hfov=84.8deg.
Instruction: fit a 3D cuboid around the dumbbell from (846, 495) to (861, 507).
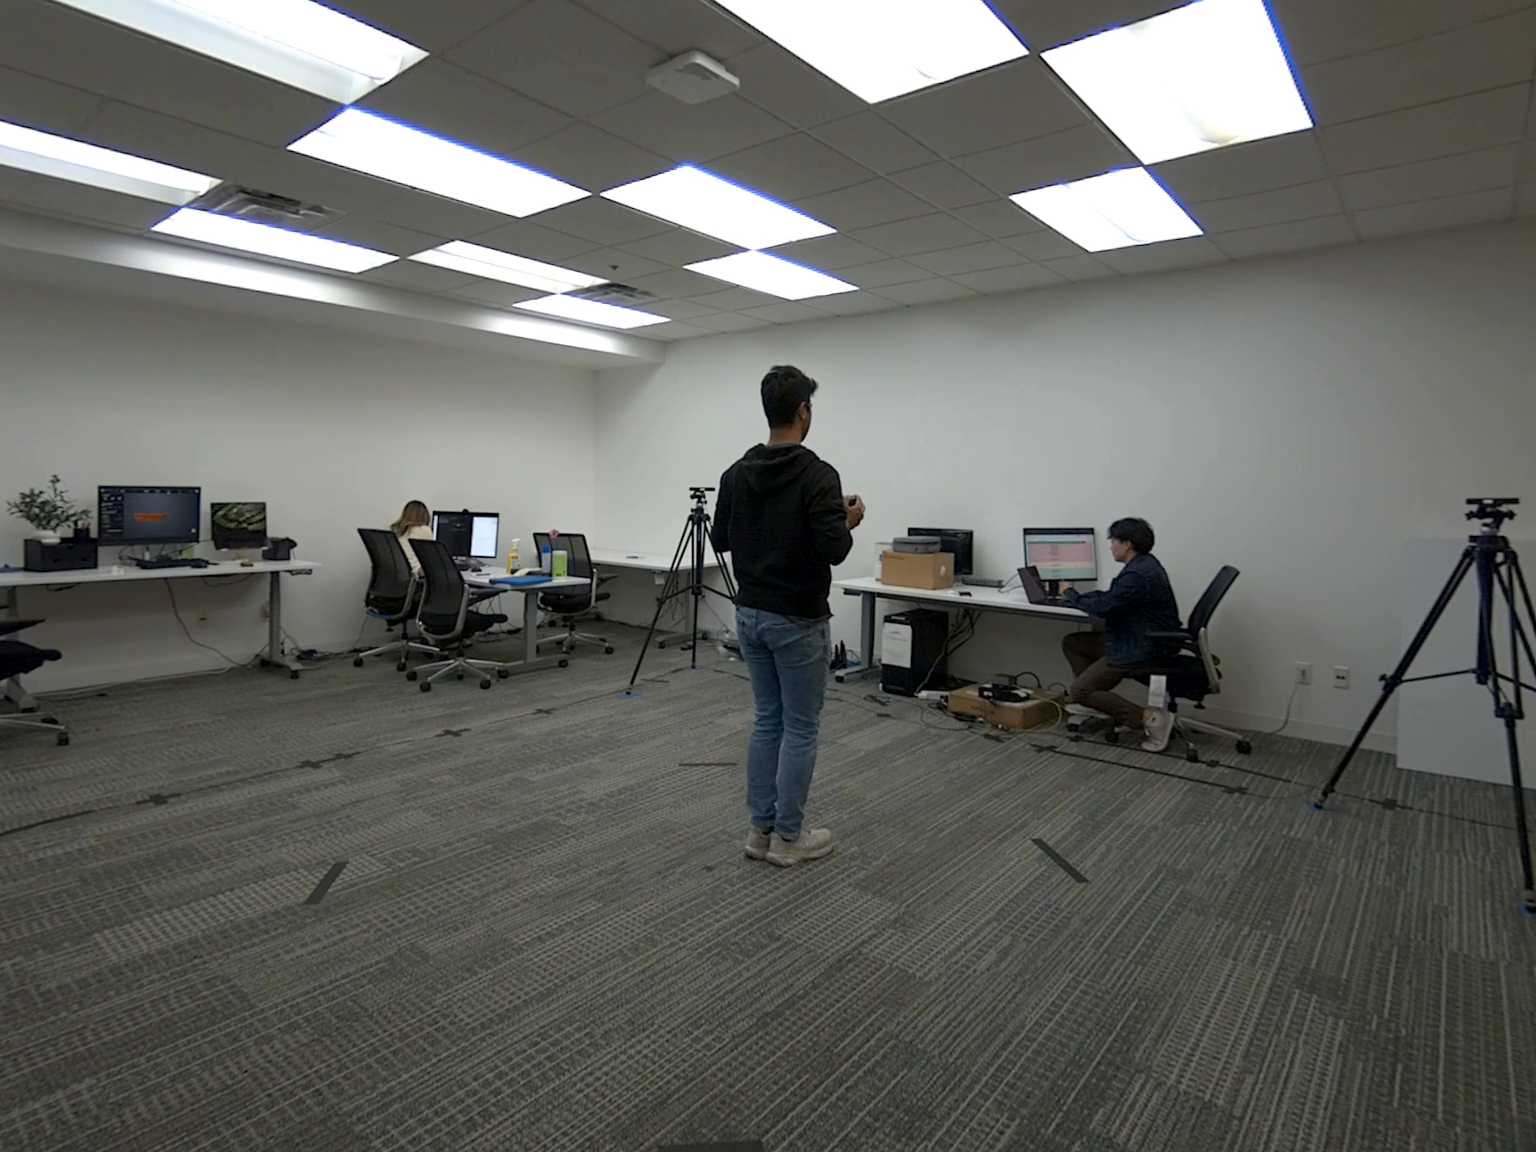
[{"bbox_3d":[0.196,-0.259,3.321,0.304,0.124,0.104,6,-18,40],"label":"dumbbell"}]
